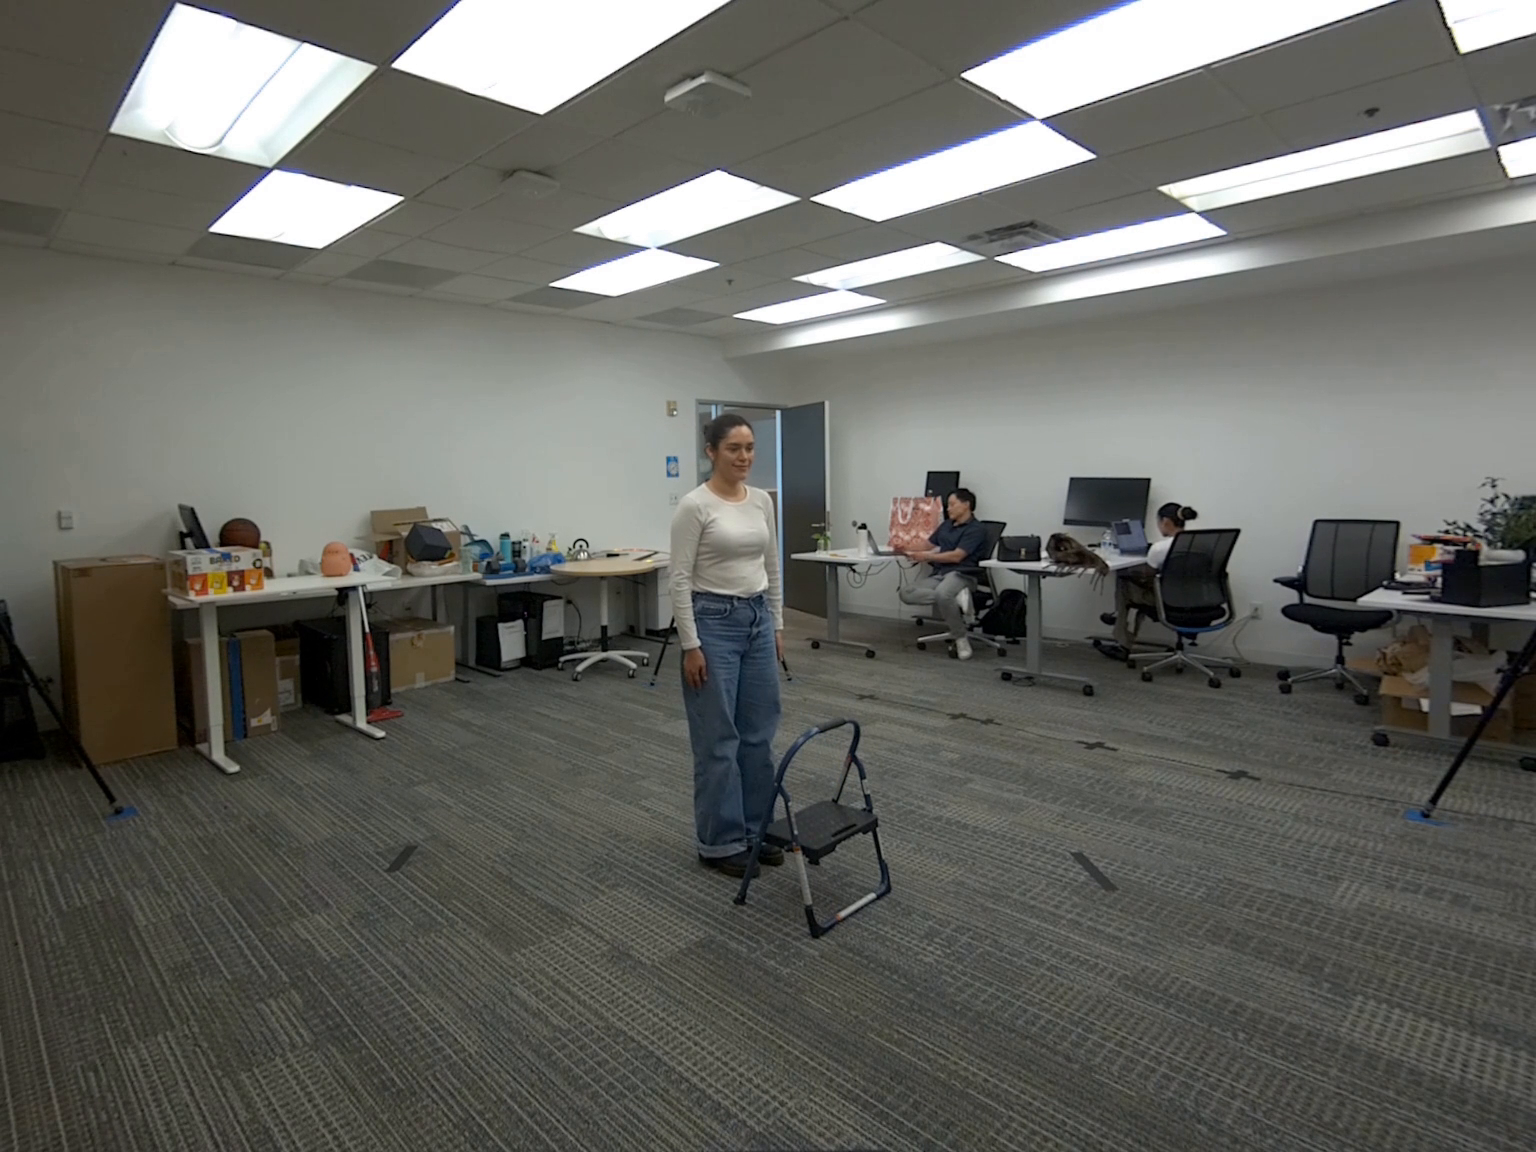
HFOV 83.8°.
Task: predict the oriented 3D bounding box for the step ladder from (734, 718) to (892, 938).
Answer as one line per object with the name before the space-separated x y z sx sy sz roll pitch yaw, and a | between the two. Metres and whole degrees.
step ladder | 0.150 0.766 2.832 0.360 0.604 0.419 3 6 42
